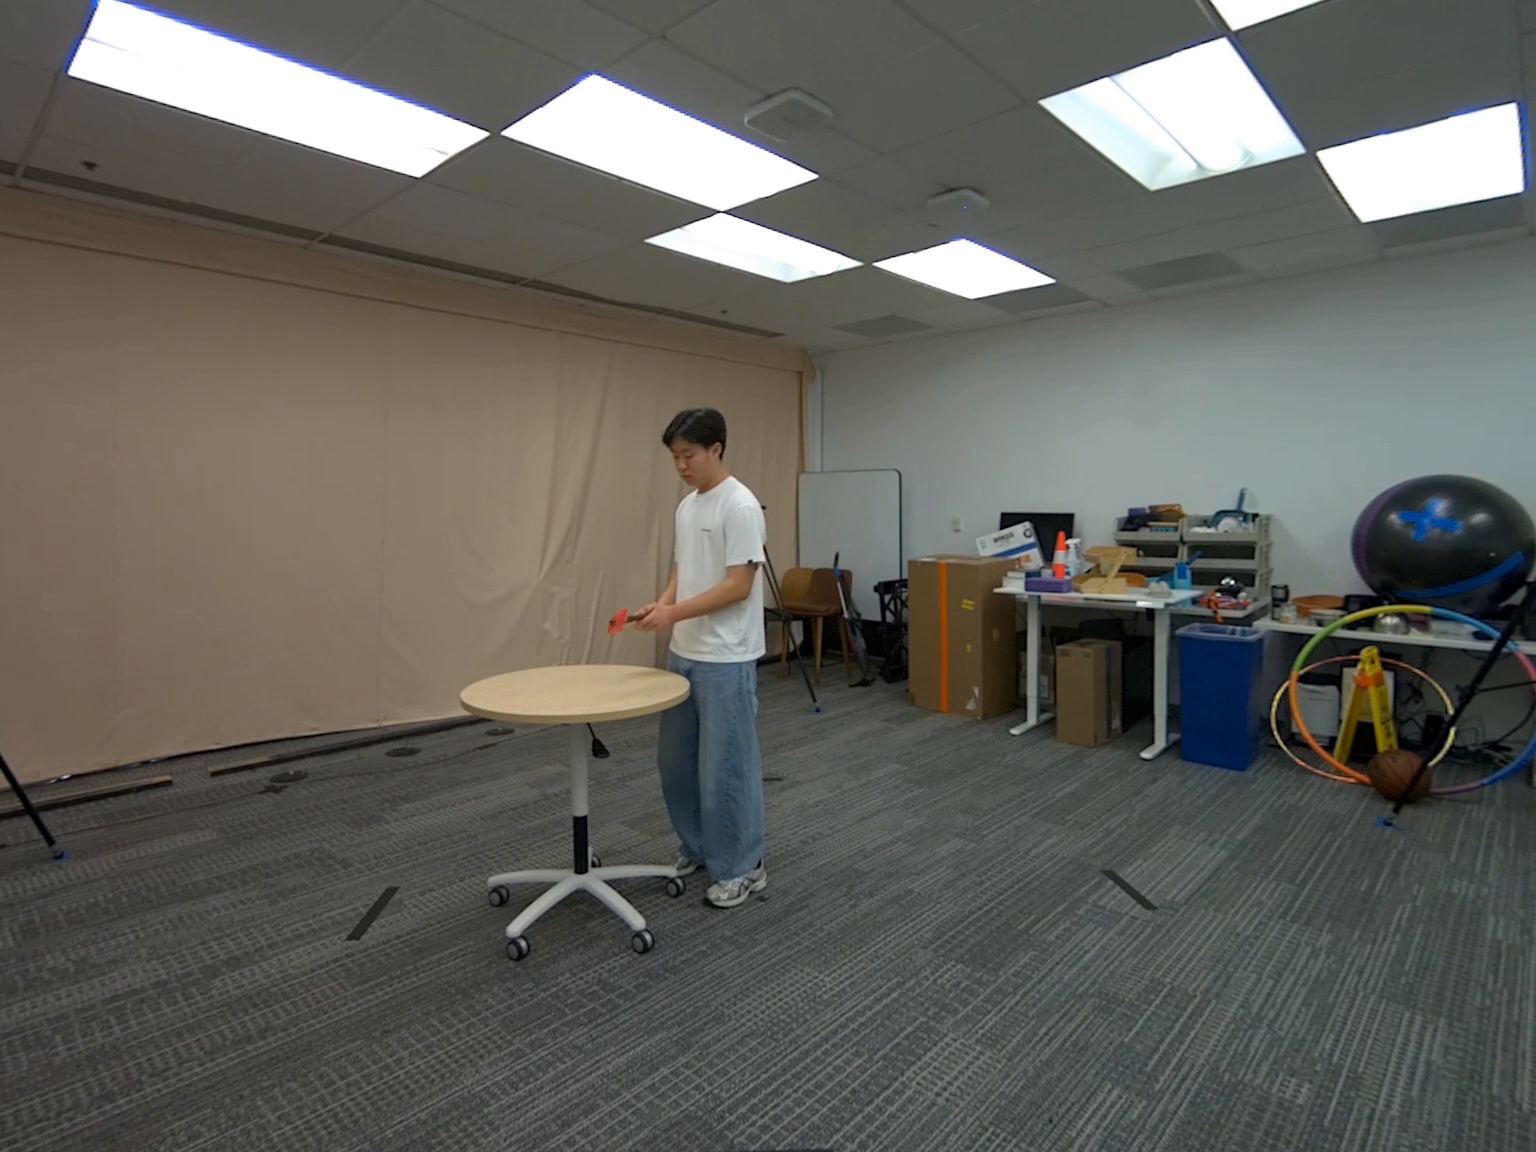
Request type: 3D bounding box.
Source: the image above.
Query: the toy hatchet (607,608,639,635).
[{"bbox_3d":[-0.457,0.169,2.848,0.030,0.131,0.262,48,7,25],"label":"toy hatchet"}]
